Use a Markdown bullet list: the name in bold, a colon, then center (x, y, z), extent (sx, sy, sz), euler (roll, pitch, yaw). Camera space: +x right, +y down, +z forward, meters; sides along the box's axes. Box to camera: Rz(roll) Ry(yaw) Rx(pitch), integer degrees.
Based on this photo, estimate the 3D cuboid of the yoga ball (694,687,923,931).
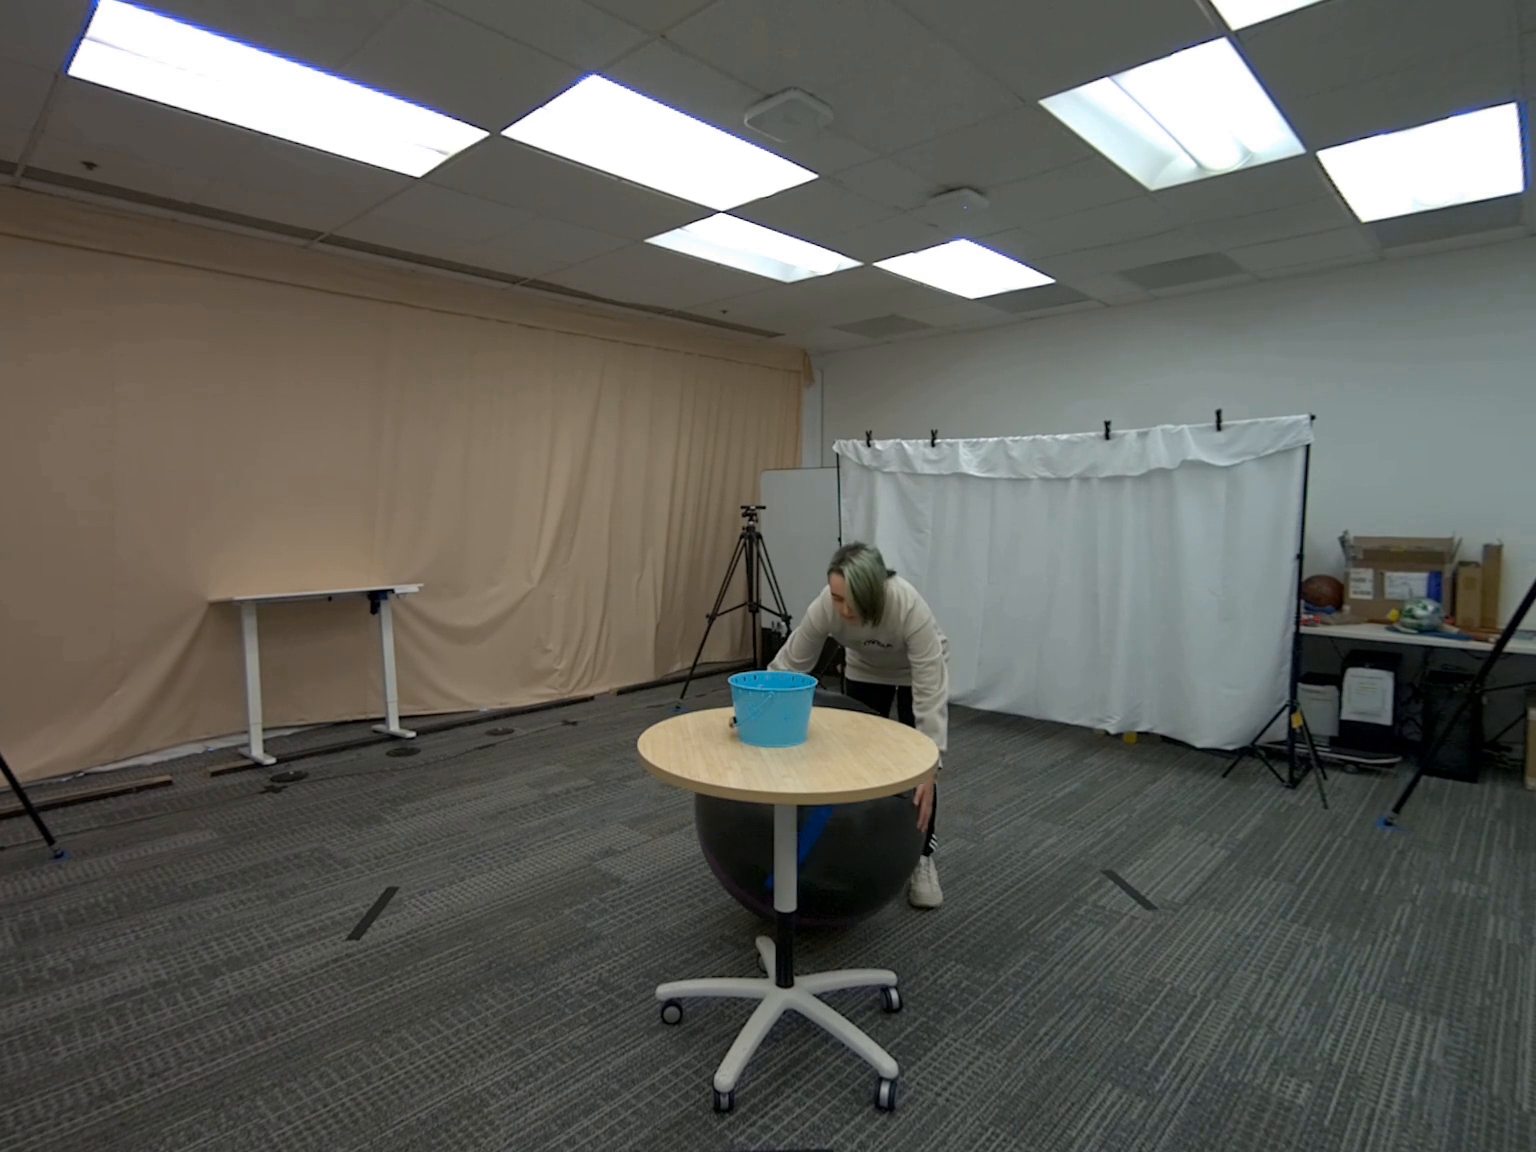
- **yoga ball**: center (0.142, 0.759, 2.777), extent (0.757, 0.756, 0.760), euler (0, 4, -2)
